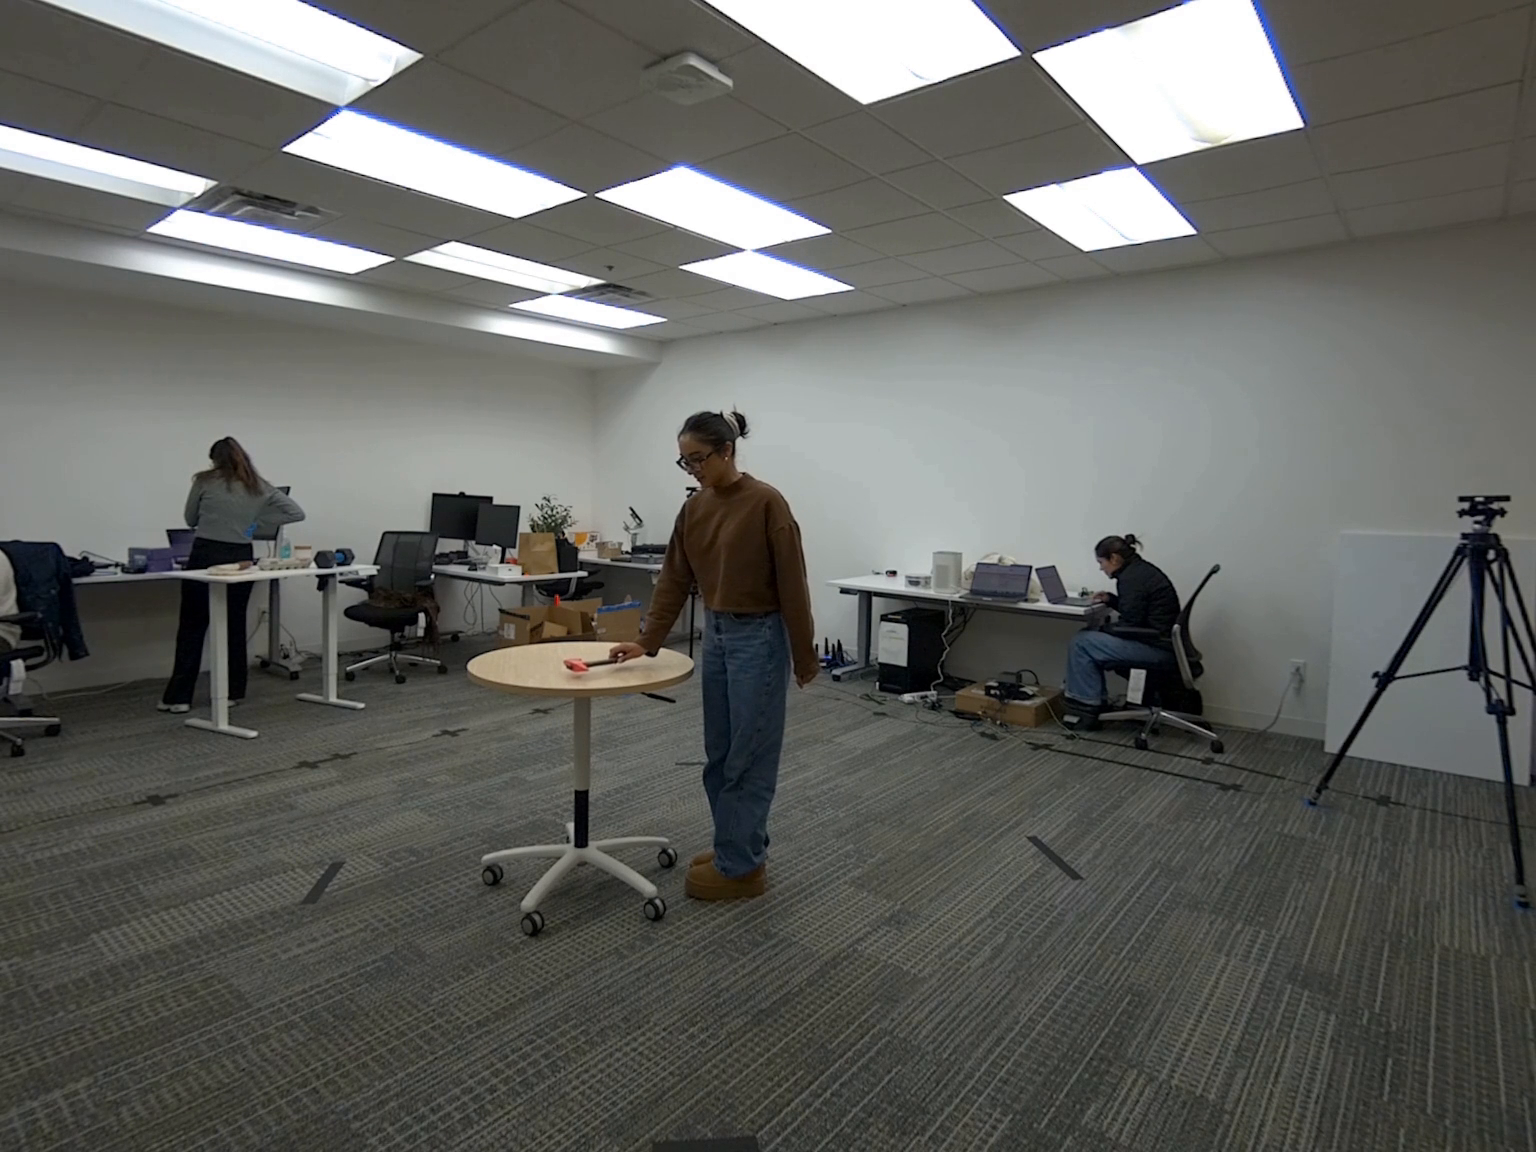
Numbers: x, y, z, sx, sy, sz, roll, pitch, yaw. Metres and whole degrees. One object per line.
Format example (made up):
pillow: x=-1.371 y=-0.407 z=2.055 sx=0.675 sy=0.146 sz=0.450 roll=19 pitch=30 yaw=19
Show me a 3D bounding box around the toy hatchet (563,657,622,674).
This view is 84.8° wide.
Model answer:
toy hatchet: x=-0.538 y=0.286 z=2.748 sx=0.262 sy=0.029 sz=0.135 roll=1 pitch=7 yaw=-30
